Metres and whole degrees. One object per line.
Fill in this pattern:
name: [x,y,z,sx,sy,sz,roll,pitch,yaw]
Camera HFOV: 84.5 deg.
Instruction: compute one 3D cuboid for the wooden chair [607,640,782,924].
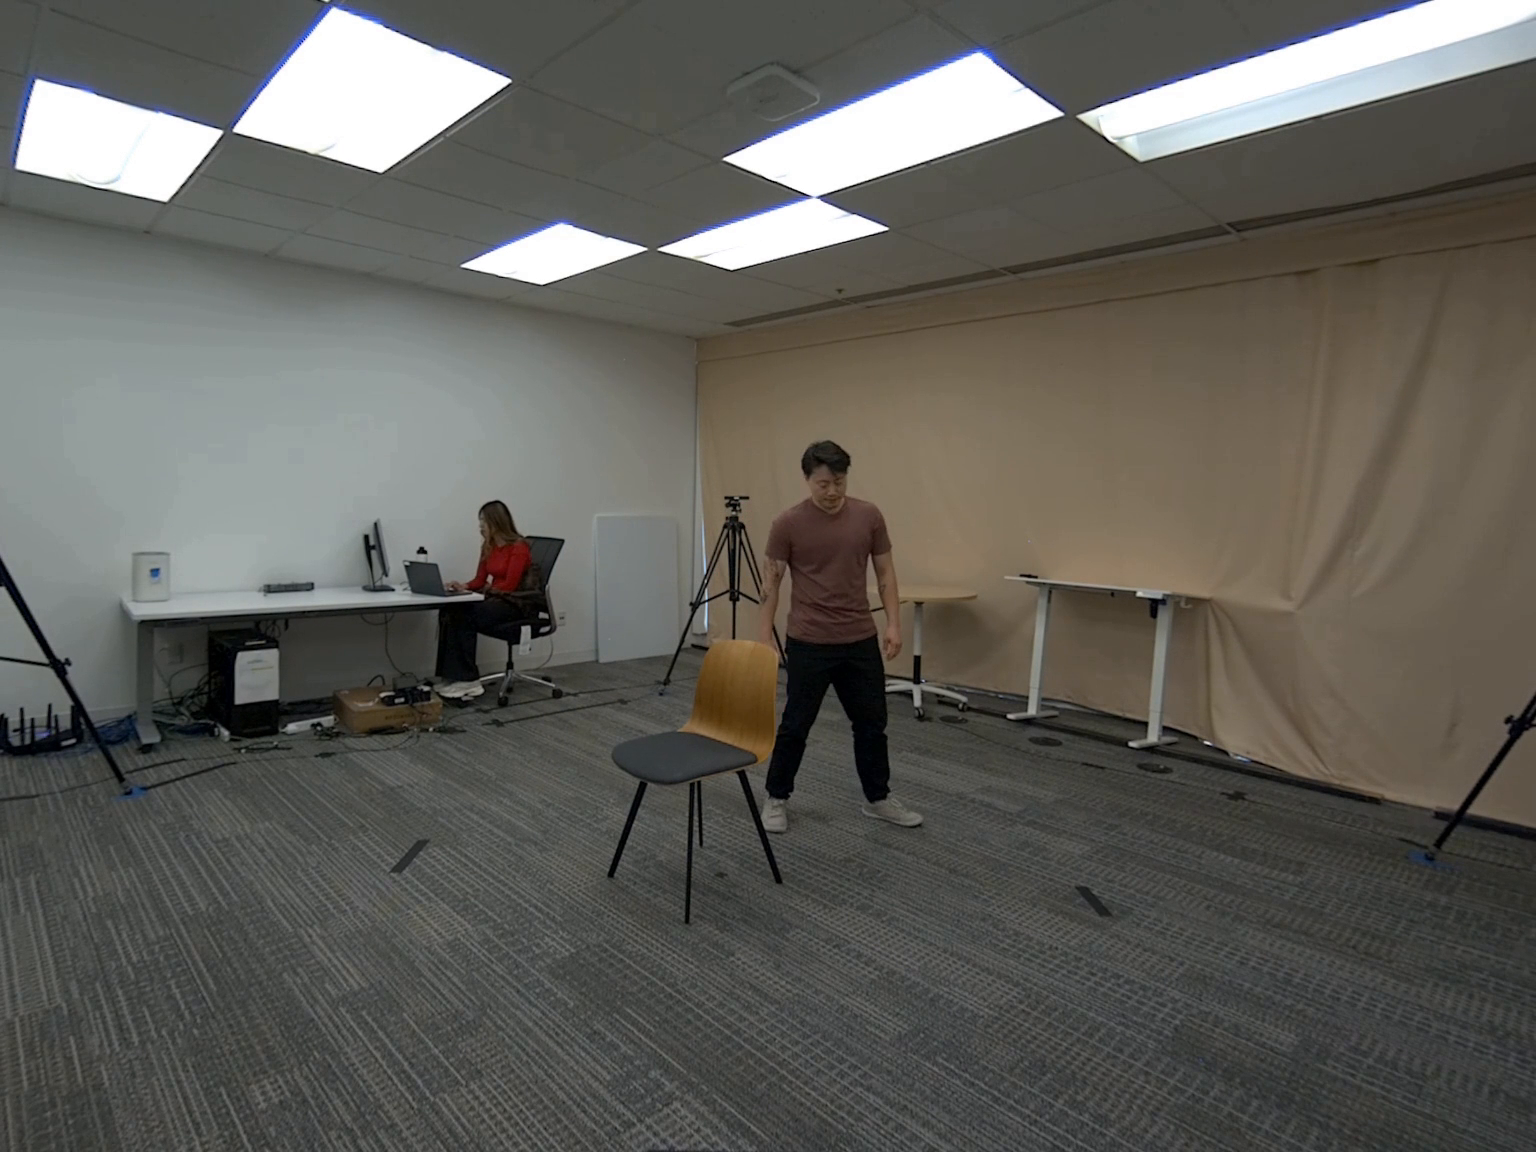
wooden chair: [-0.267,0.683,3.016,0.510,0.877,0.490,4,1,-44]
